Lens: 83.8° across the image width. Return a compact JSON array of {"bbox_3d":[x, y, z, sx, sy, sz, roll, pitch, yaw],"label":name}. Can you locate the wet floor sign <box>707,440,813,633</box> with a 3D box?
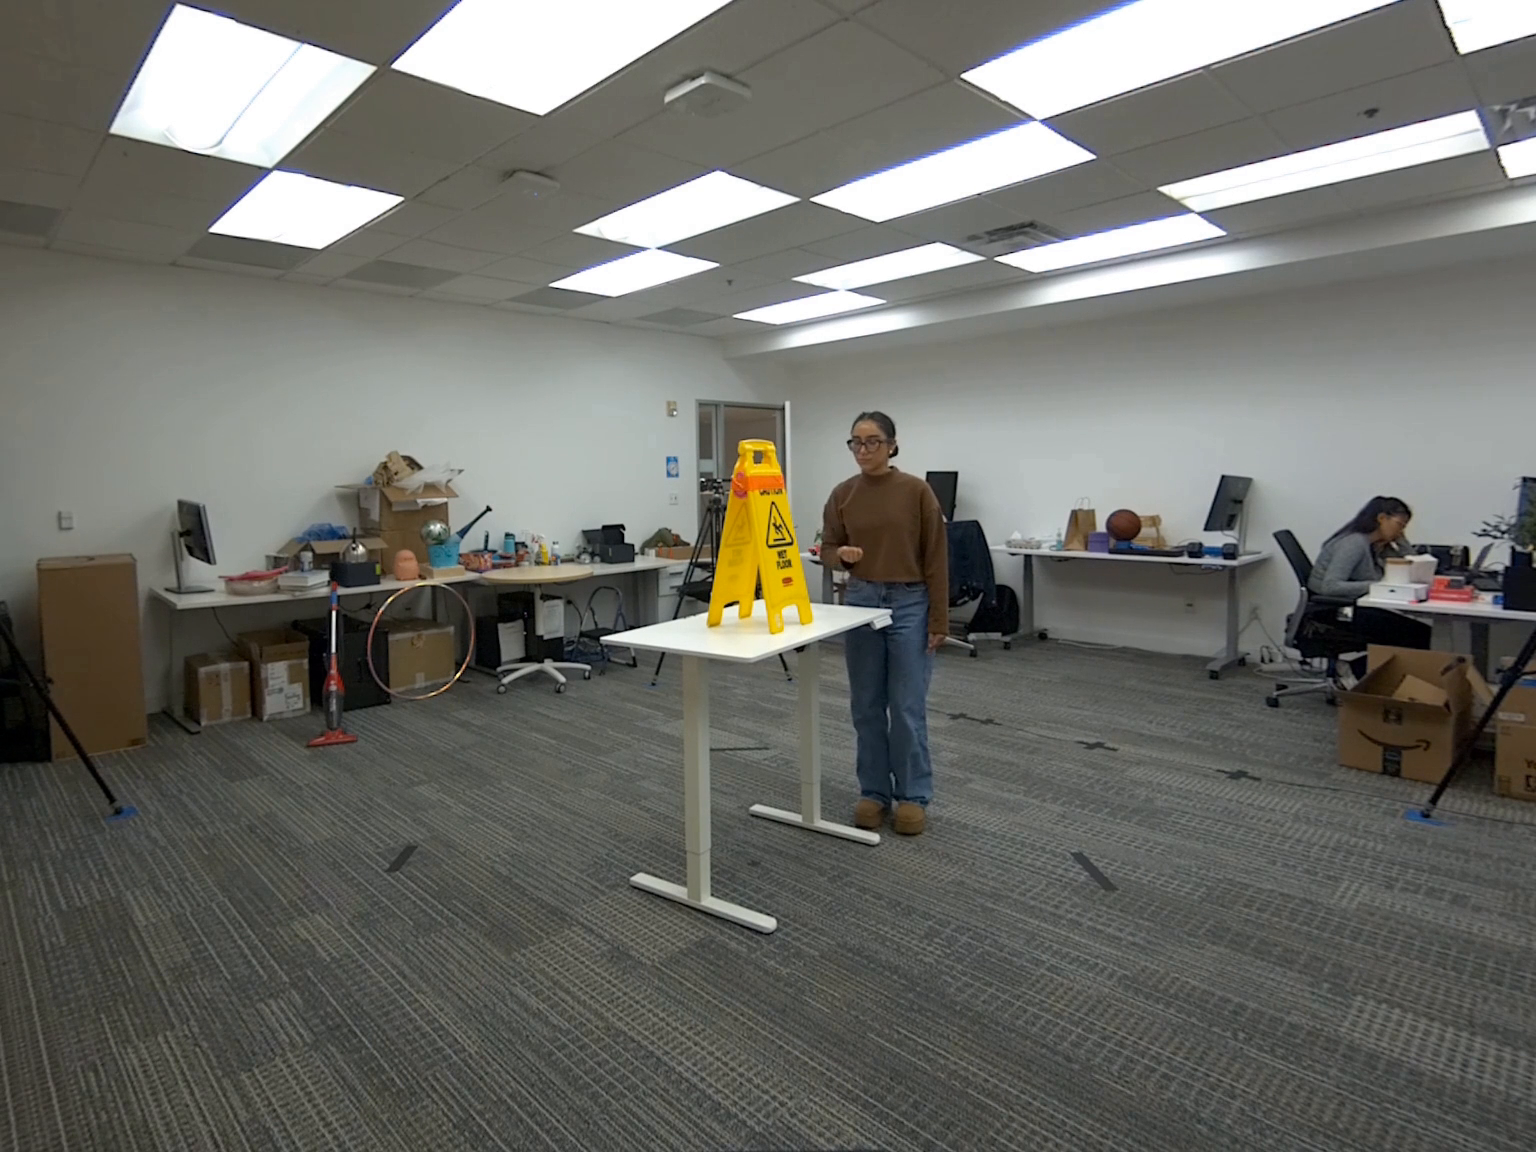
[{"bbox_3d":[-0.032,-0.149,3.003,0.298,0.644,0.275,1,4,33],"label":"wet floor sign"}]
